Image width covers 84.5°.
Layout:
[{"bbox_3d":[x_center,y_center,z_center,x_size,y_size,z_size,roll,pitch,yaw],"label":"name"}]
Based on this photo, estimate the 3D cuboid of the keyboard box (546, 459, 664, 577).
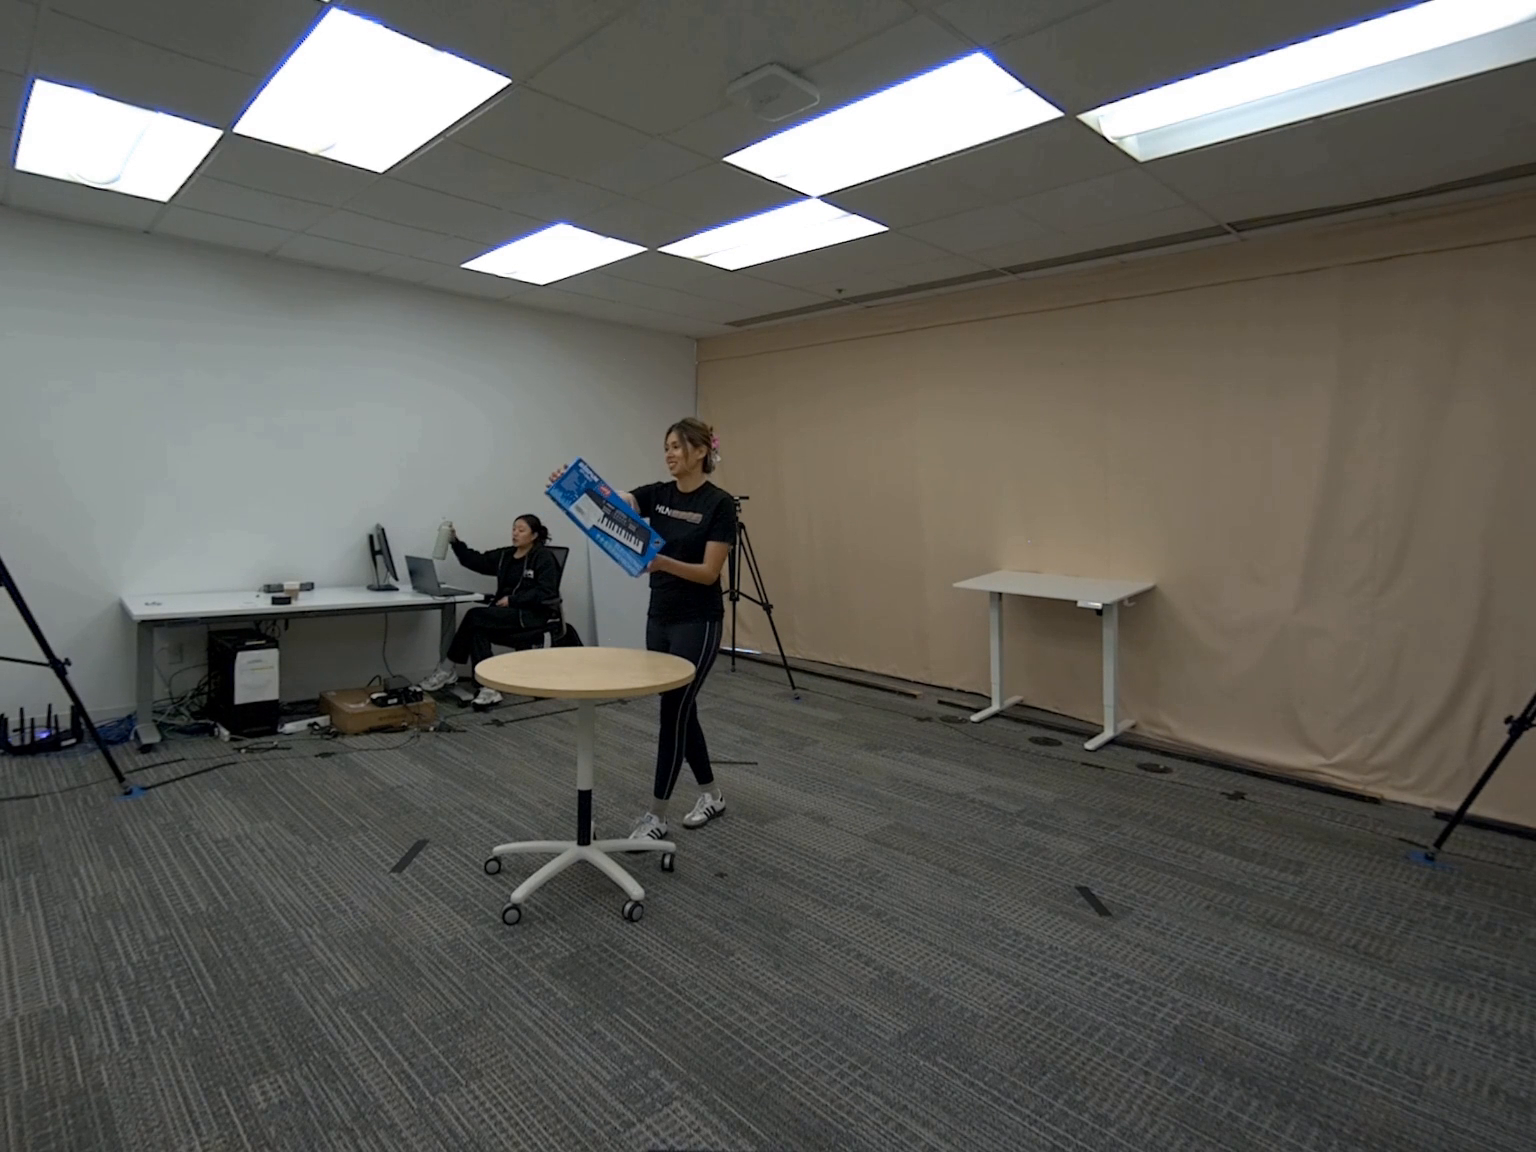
[{"bbox_3d":[-0.589,-0.203,3.007,0.429,0.176,0.060,46,-15,-17],"label":"keyboard box"}]
